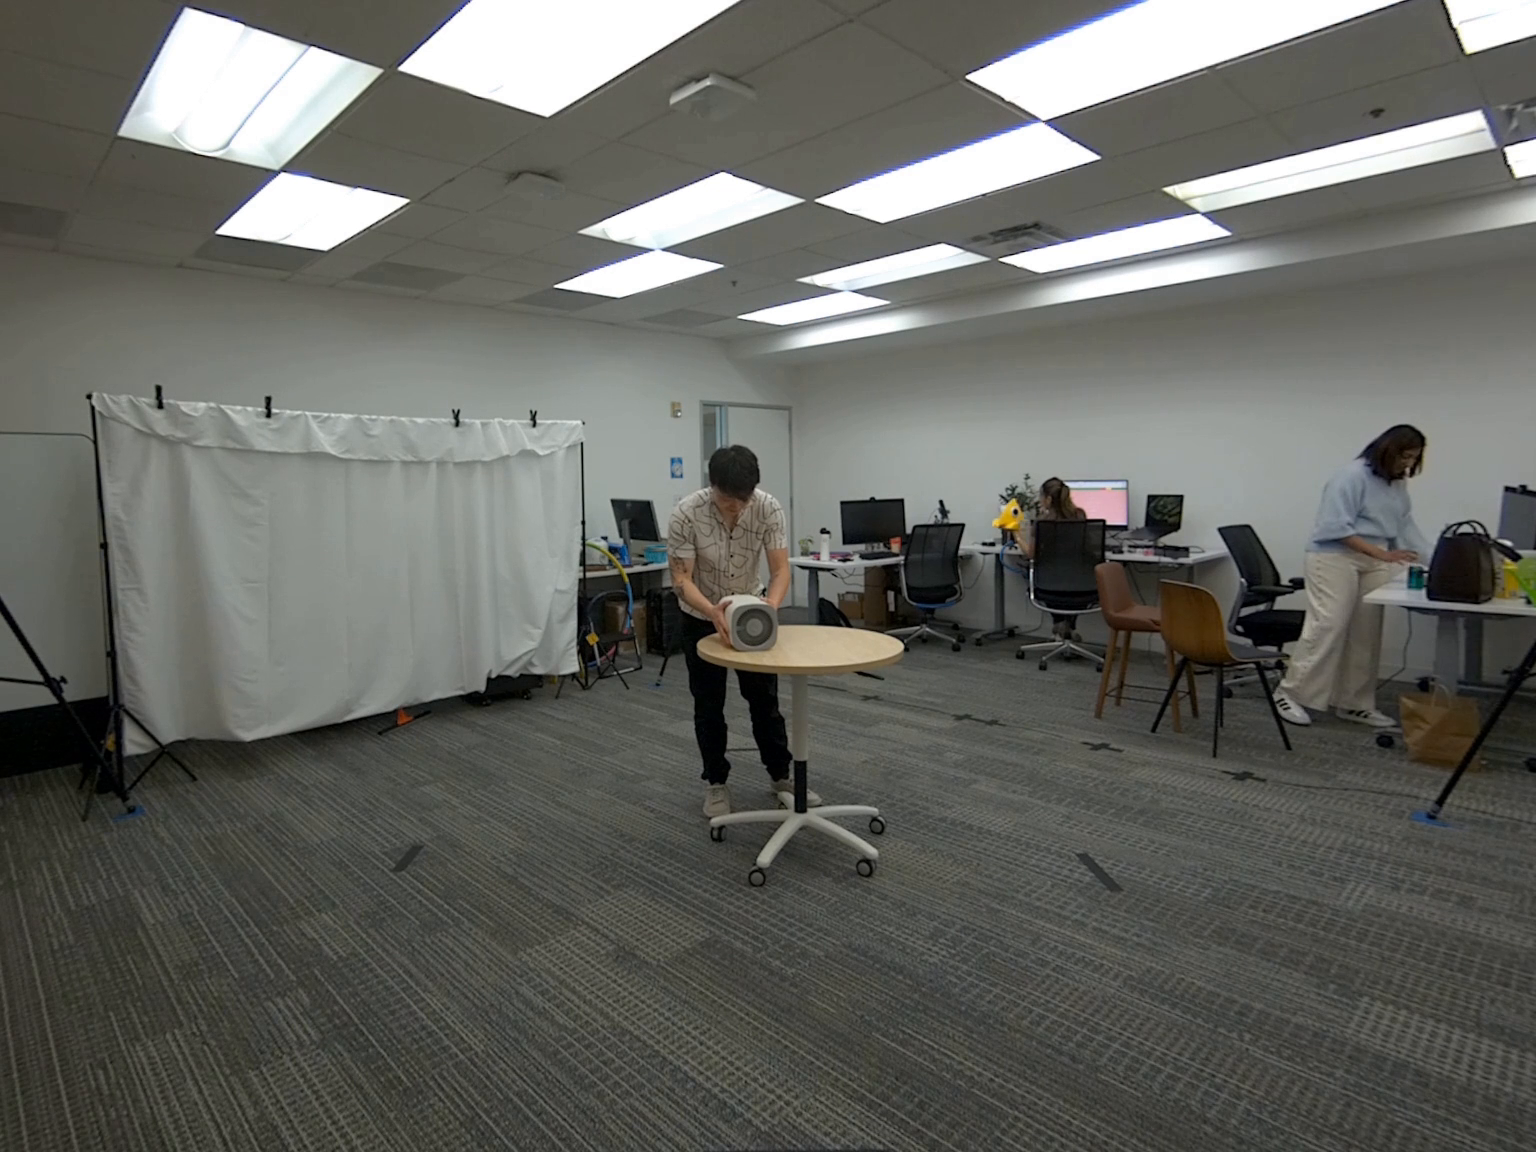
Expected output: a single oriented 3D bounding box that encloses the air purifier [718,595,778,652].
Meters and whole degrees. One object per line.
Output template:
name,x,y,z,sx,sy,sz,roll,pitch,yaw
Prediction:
air purifier,-0.080,0.174,3.181,0.170,0.170,0.270,-4,6,-13
